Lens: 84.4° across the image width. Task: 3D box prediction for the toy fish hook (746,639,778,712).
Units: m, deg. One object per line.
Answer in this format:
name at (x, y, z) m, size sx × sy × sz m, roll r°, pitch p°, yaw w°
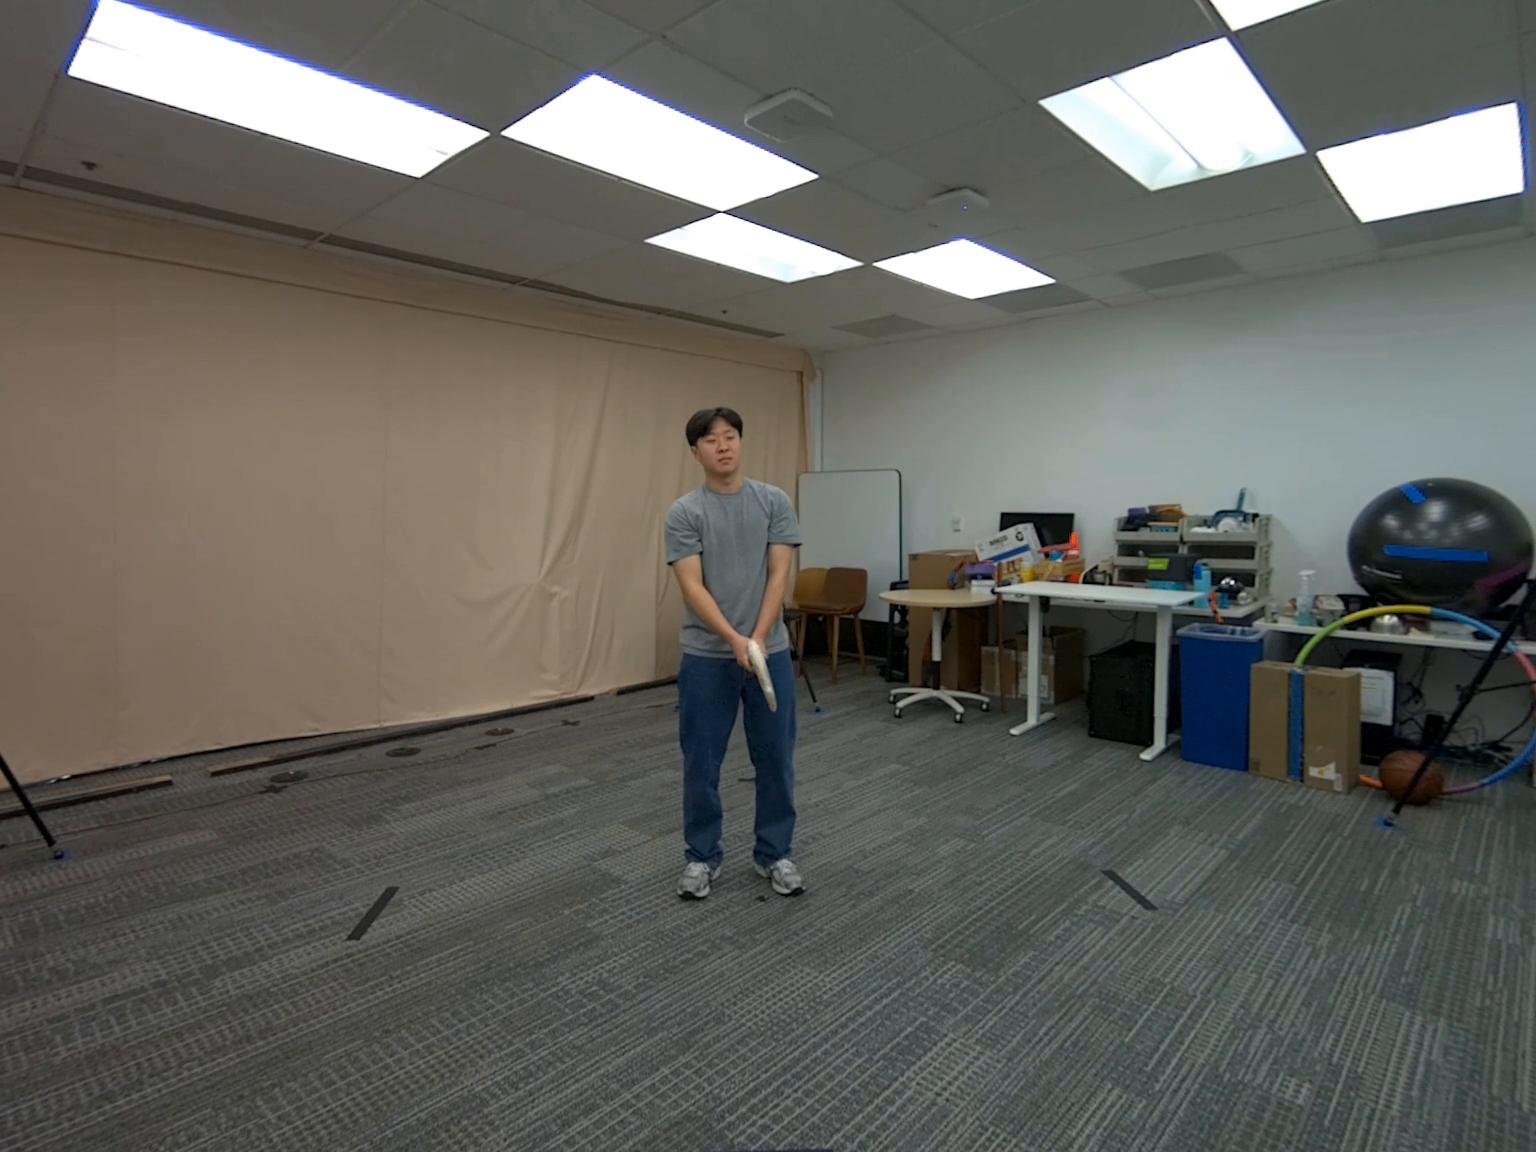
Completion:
toy fish hook at (-0.028, 0.306, 2.659) m, size 0.048 × 0.225 × 0.506 m, roll -11°, pitch -3°, yaw -4°
